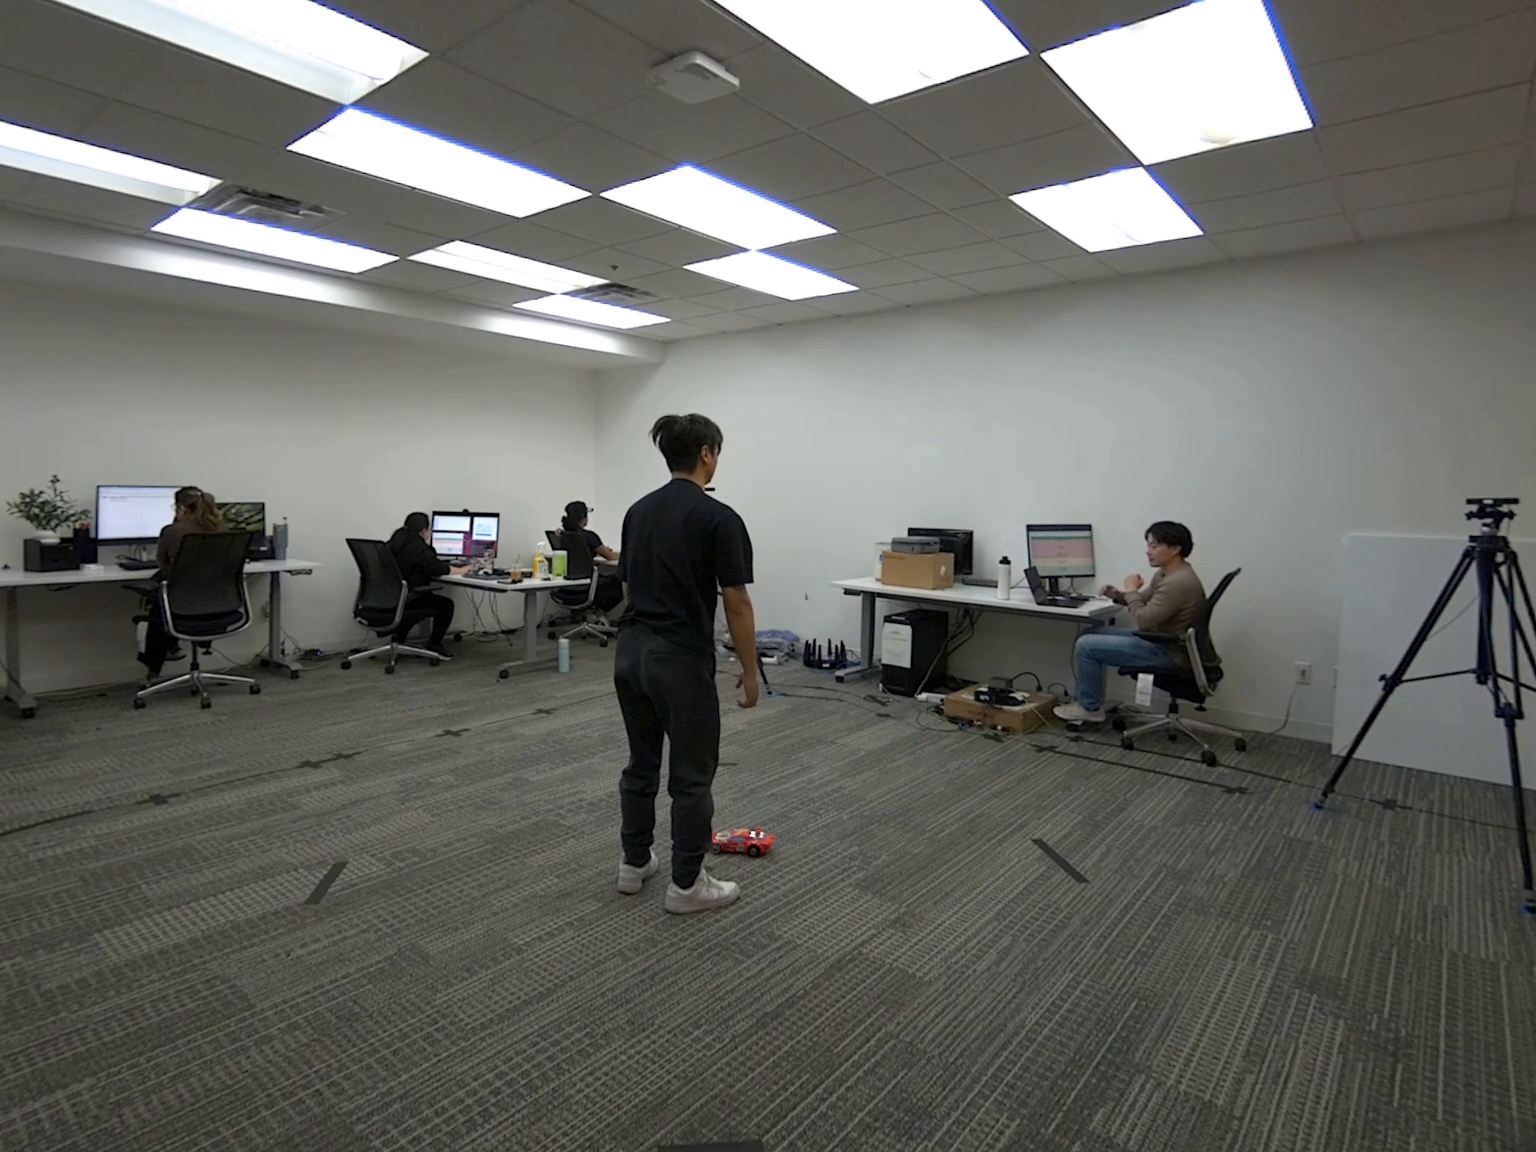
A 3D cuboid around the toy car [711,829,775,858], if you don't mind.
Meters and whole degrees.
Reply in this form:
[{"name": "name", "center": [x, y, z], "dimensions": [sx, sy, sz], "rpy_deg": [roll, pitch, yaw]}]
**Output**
[{"name": "toy car", "center": [-0.110, 1.020, 3.270], "dimensions": [0.257, 0.083, 0.129], "rpy_deg": [-8, 4, 9]}]
